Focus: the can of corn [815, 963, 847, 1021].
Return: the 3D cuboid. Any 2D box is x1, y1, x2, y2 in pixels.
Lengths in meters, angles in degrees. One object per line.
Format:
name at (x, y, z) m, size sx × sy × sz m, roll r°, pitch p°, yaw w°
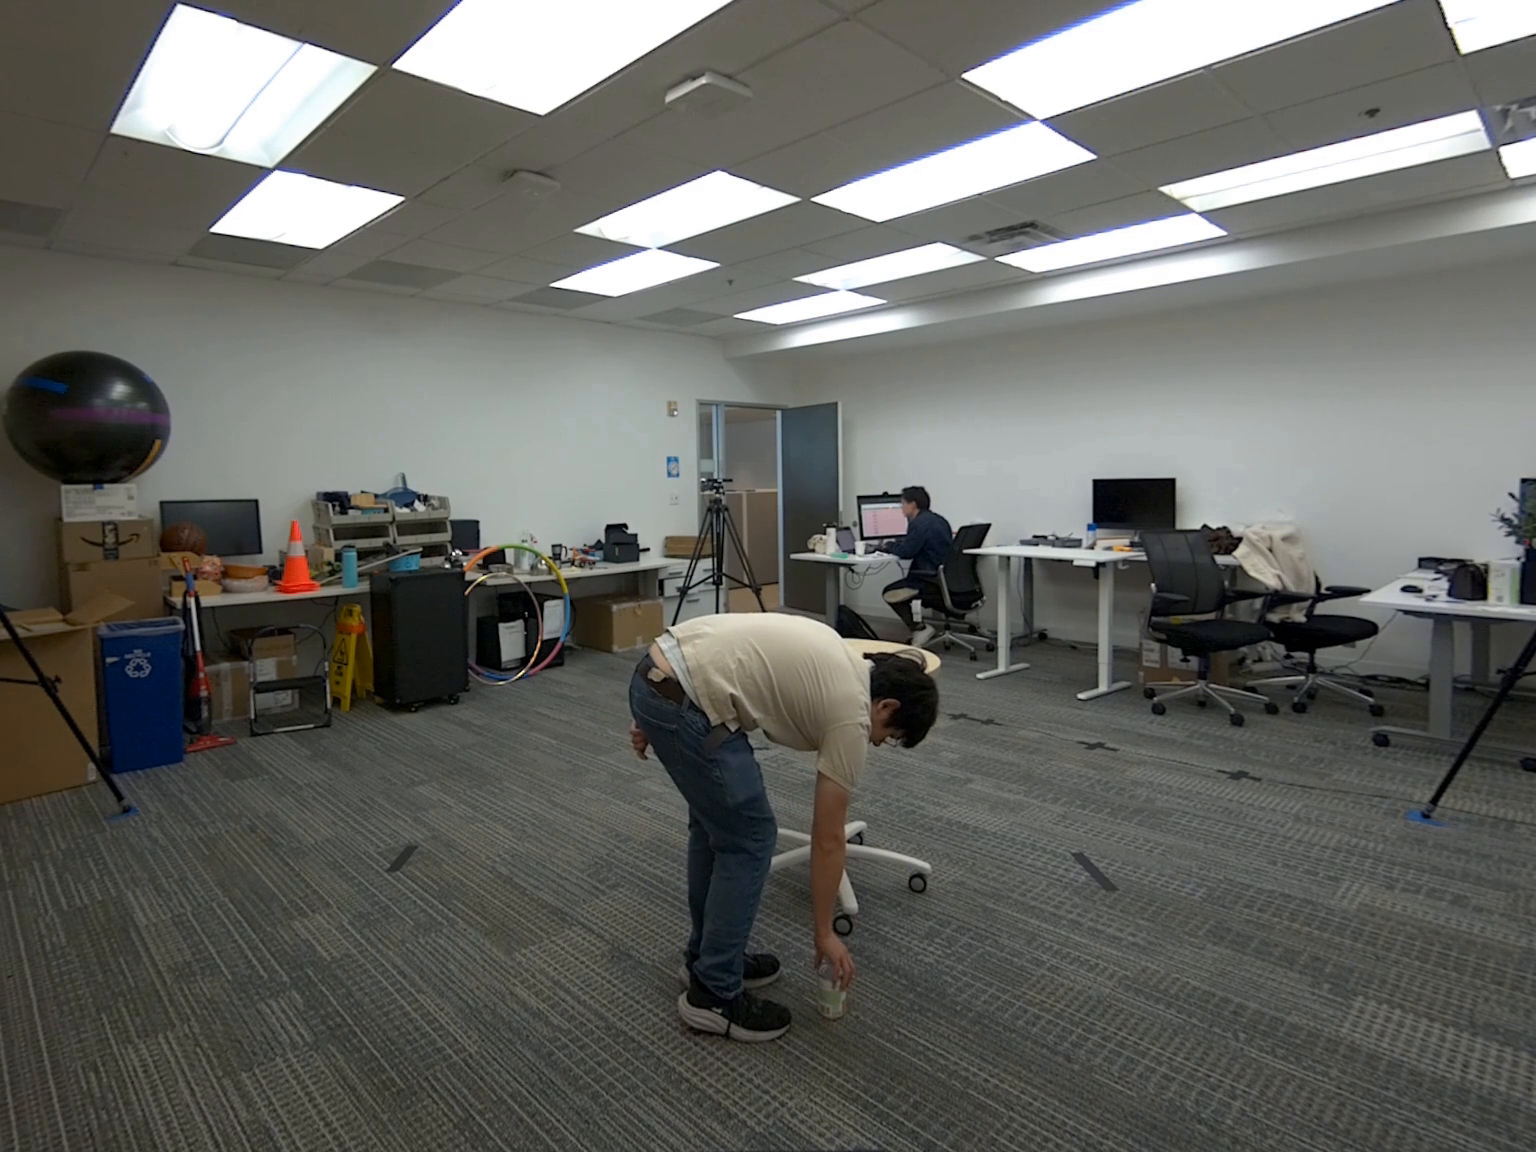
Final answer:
can of corn at (0.168, 1.084, 2.223) m, size 0.074 × 0.110 × 0.074 m, roll -1°, pitch 5°, yaw -2°
